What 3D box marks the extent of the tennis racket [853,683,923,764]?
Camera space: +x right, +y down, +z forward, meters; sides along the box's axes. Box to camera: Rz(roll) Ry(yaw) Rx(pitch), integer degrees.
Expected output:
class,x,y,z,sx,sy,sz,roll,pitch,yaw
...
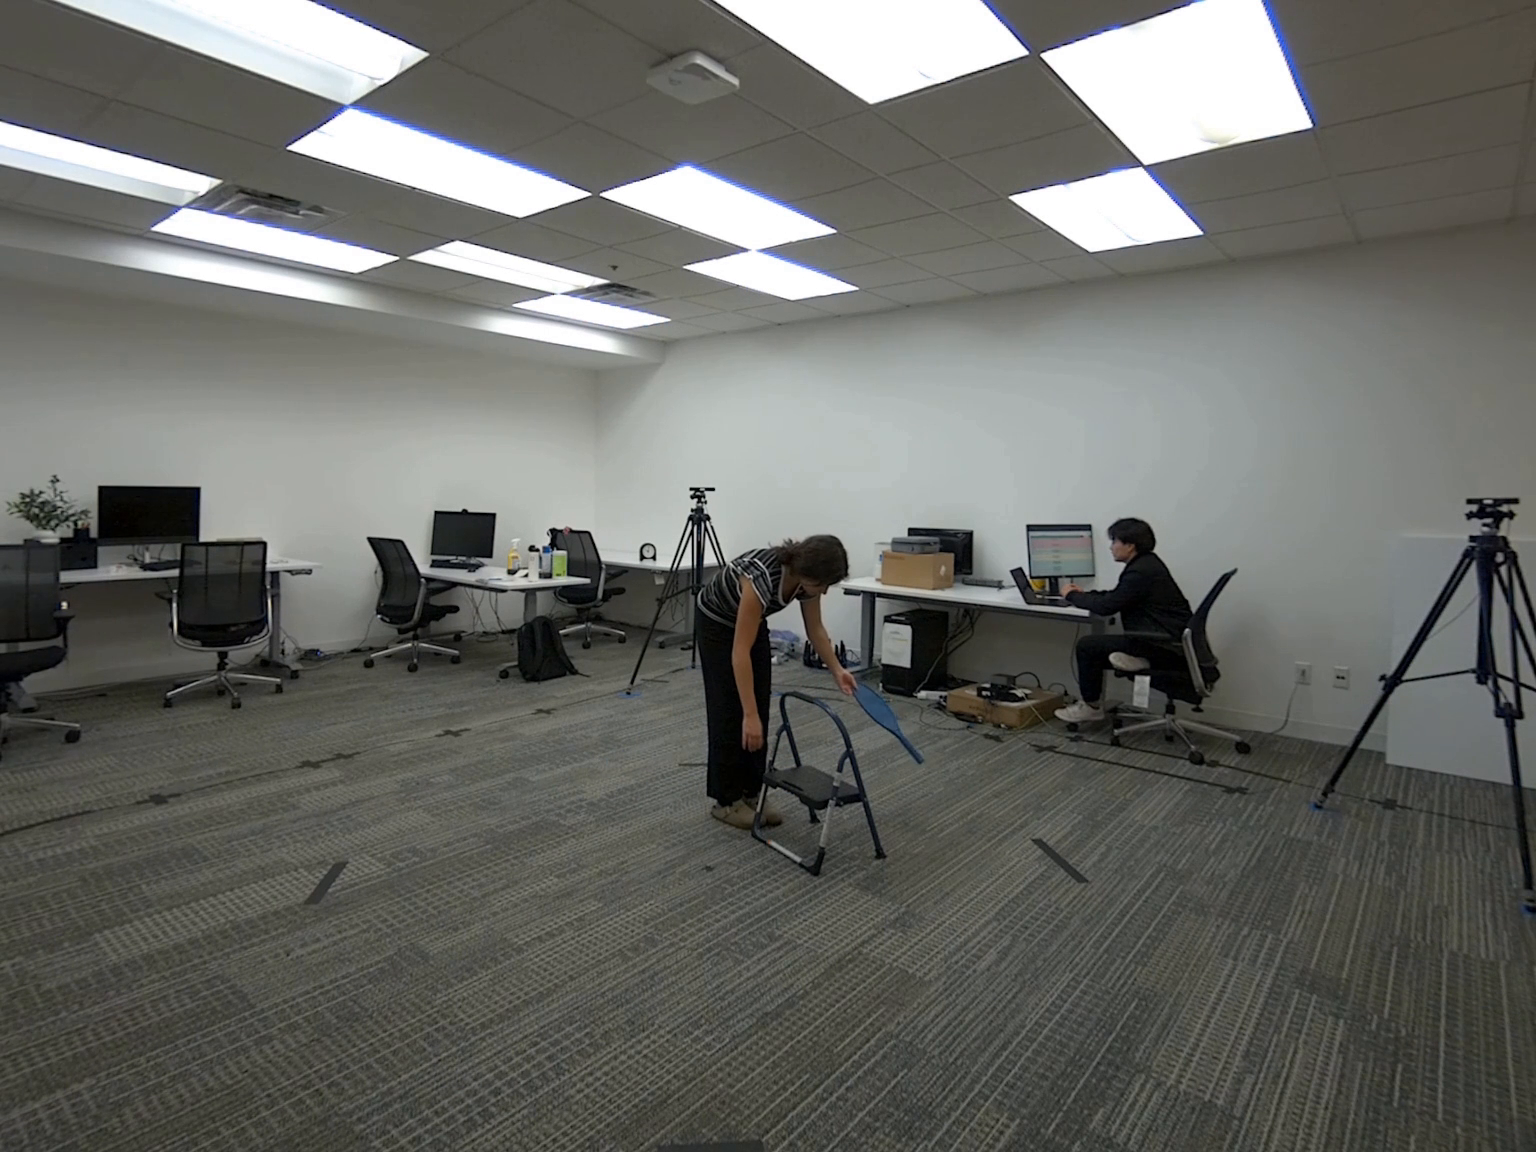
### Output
class,x,y,z,sx,sy,sz,roll,pitch,yaw
tennis racket,0.497,0.623,3.623,0.207,0.032,0.448,4,44,-52
